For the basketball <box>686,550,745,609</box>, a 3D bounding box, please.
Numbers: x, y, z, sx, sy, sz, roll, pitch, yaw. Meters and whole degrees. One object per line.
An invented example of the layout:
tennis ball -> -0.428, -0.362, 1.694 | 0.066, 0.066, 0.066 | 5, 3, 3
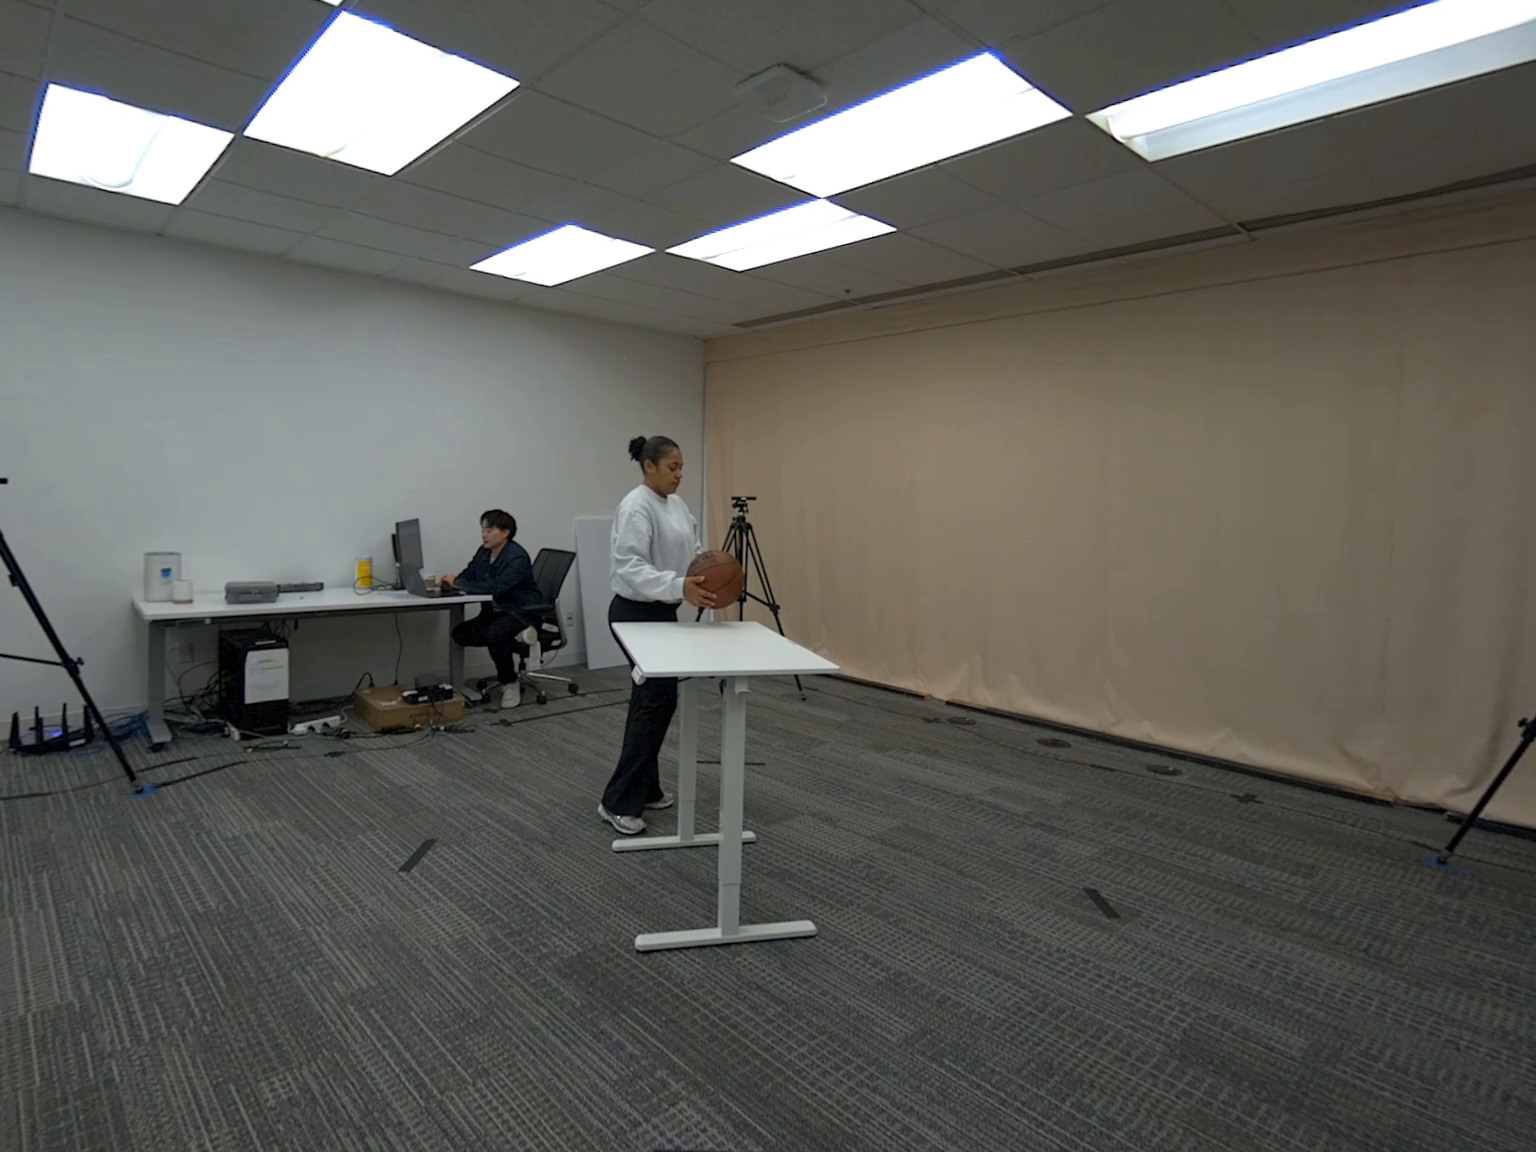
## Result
basketball -> -0.222, 0.018, 3.395 | 0.236, 0.235, 0.237 | 1, 4, -1
